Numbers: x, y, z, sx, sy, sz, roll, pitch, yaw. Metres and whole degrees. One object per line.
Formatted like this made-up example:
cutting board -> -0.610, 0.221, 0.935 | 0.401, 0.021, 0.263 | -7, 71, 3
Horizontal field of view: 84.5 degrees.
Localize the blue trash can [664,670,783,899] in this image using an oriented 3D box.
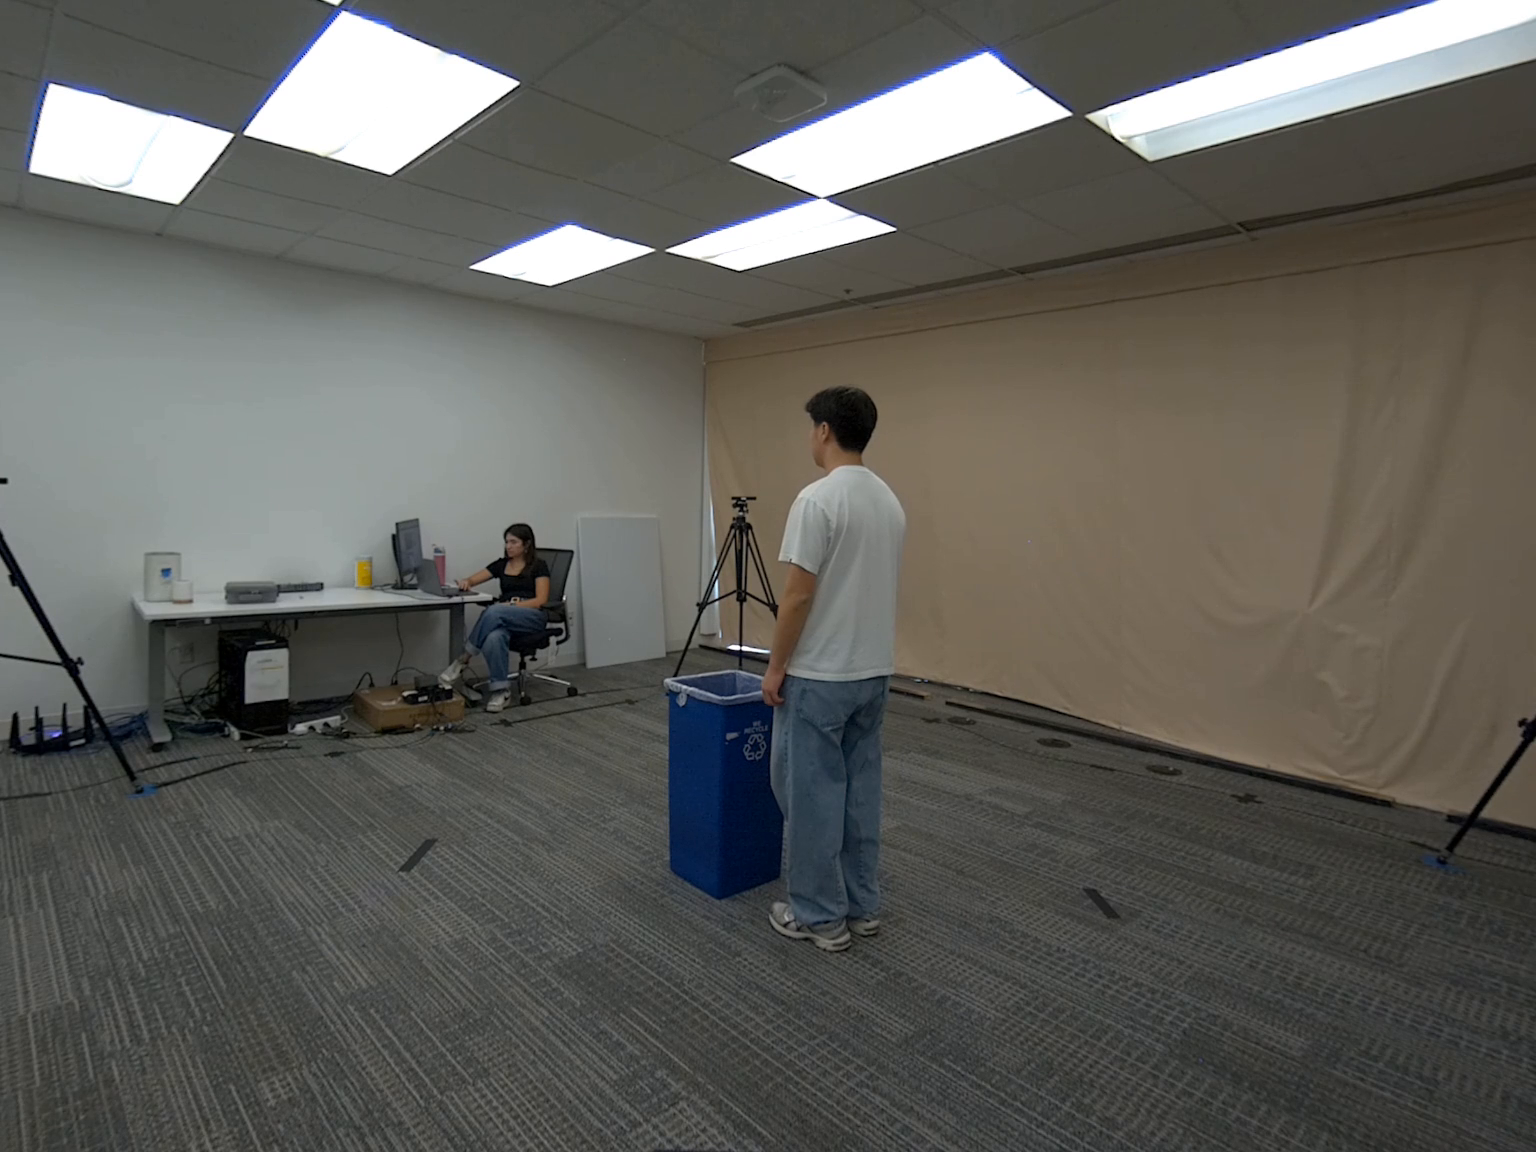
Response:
blue trash can -> -0.156, 0.748, 3.111 | 0.365, 0.712, 0.388 | -2, 5, -42
